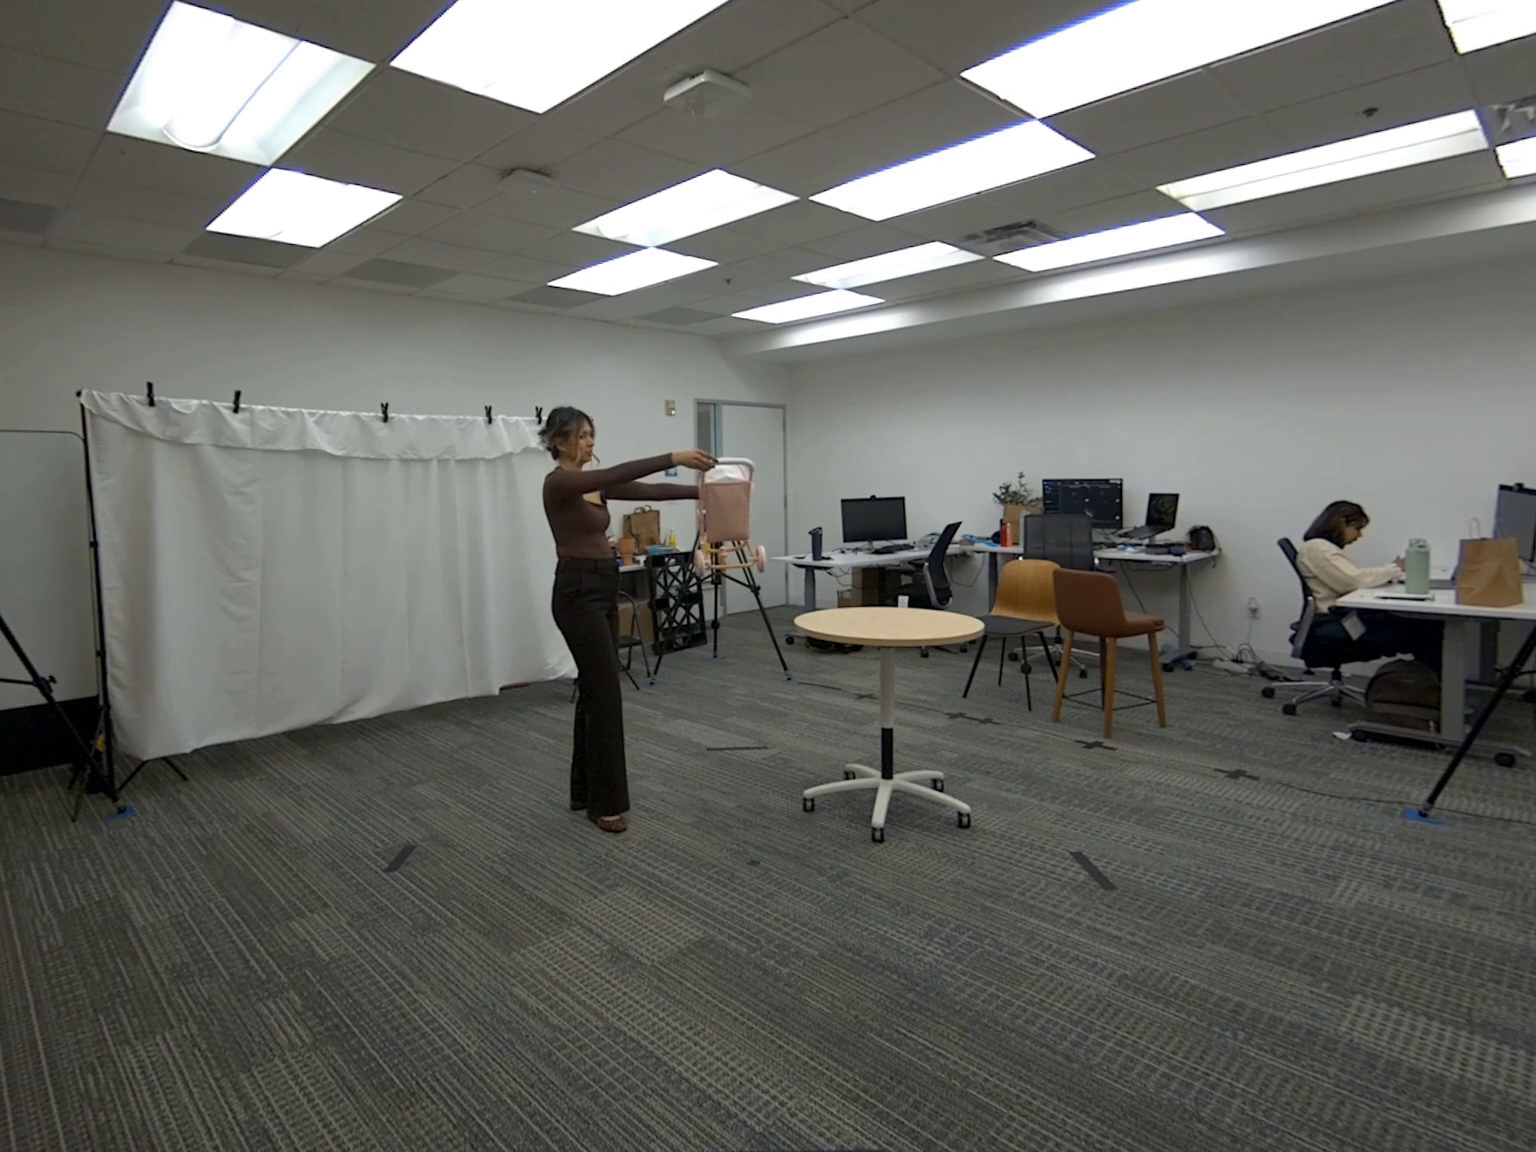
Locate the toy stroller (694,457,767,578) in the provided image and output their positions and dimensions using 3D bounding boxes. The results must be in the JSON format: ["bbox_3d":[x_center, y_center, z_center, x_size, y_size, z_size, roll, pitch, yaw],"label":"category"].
[{"bbox_3d":[-0.171,-0.239,3.464,0.280,0.527,0.348,-4,17,-5],"label":"toy stroller"}]
